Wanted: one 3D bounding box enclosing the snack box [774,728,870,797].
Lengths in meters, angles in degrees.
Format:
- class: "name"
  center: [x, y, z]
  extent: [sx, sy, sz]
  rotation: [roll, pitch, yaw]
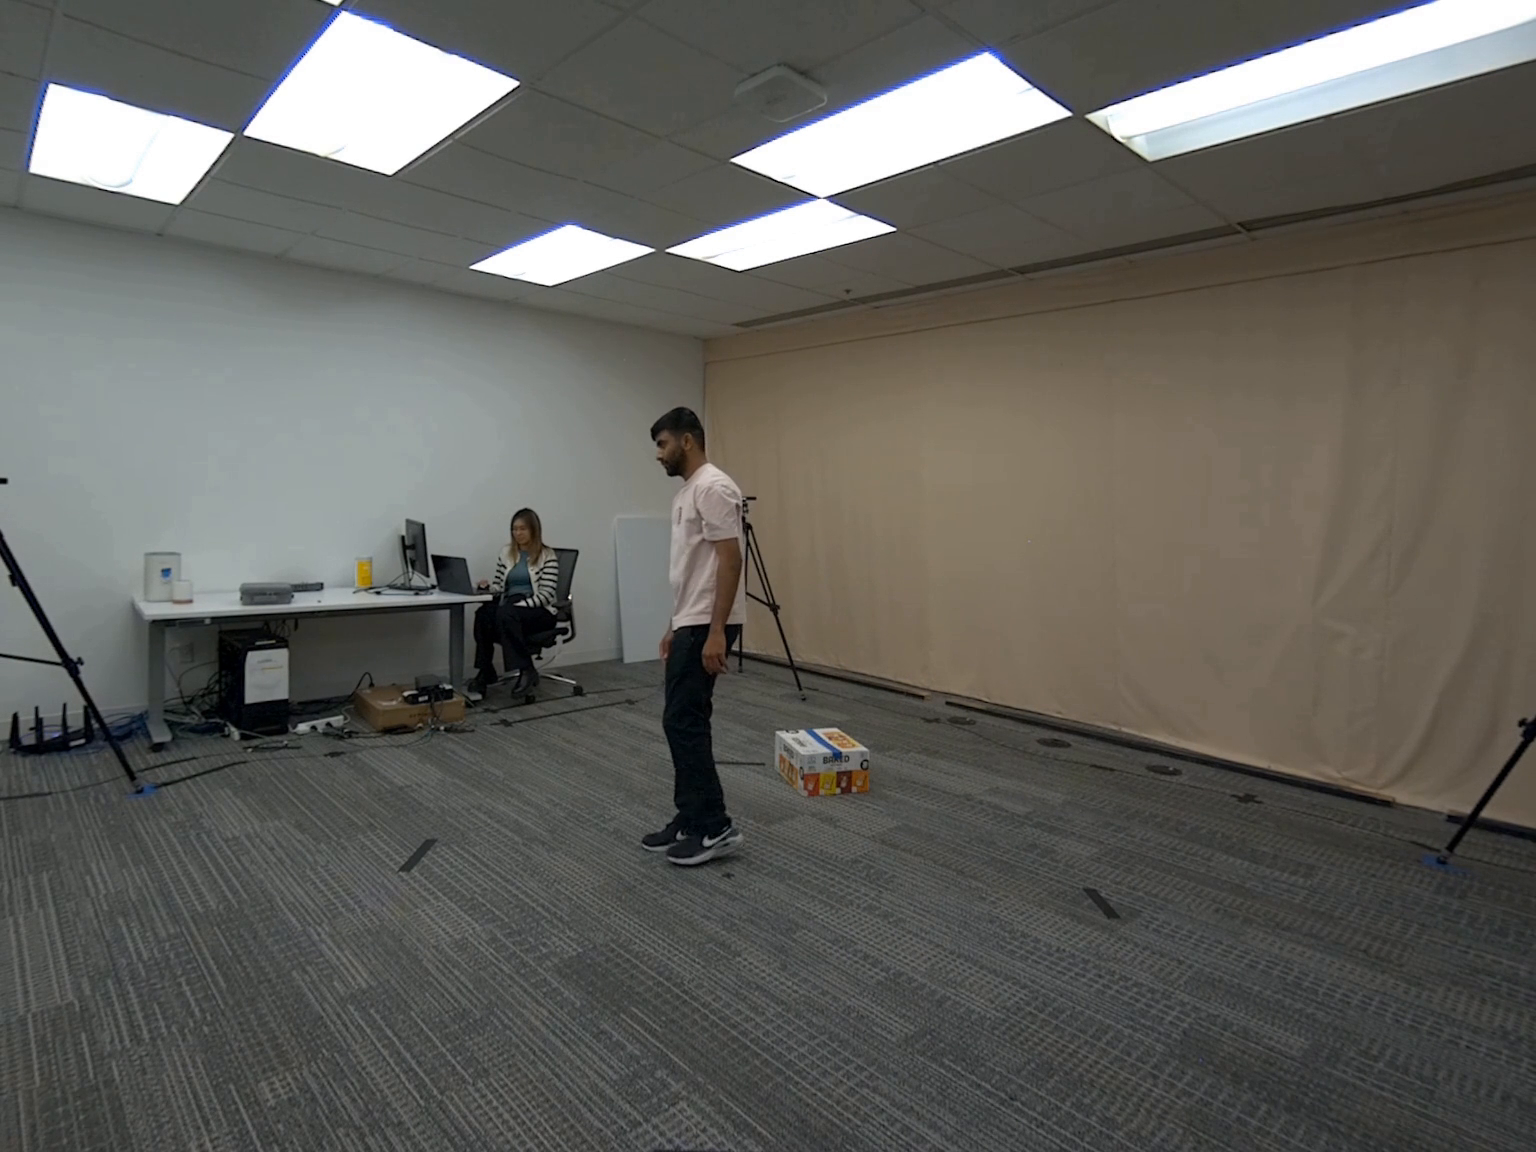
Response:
- class: "snack box"
  center: [0.245, 0.919, 4.206]
  extent: [0.336, 0.205, 0.412]
  rotation: [0, 5, -17]
